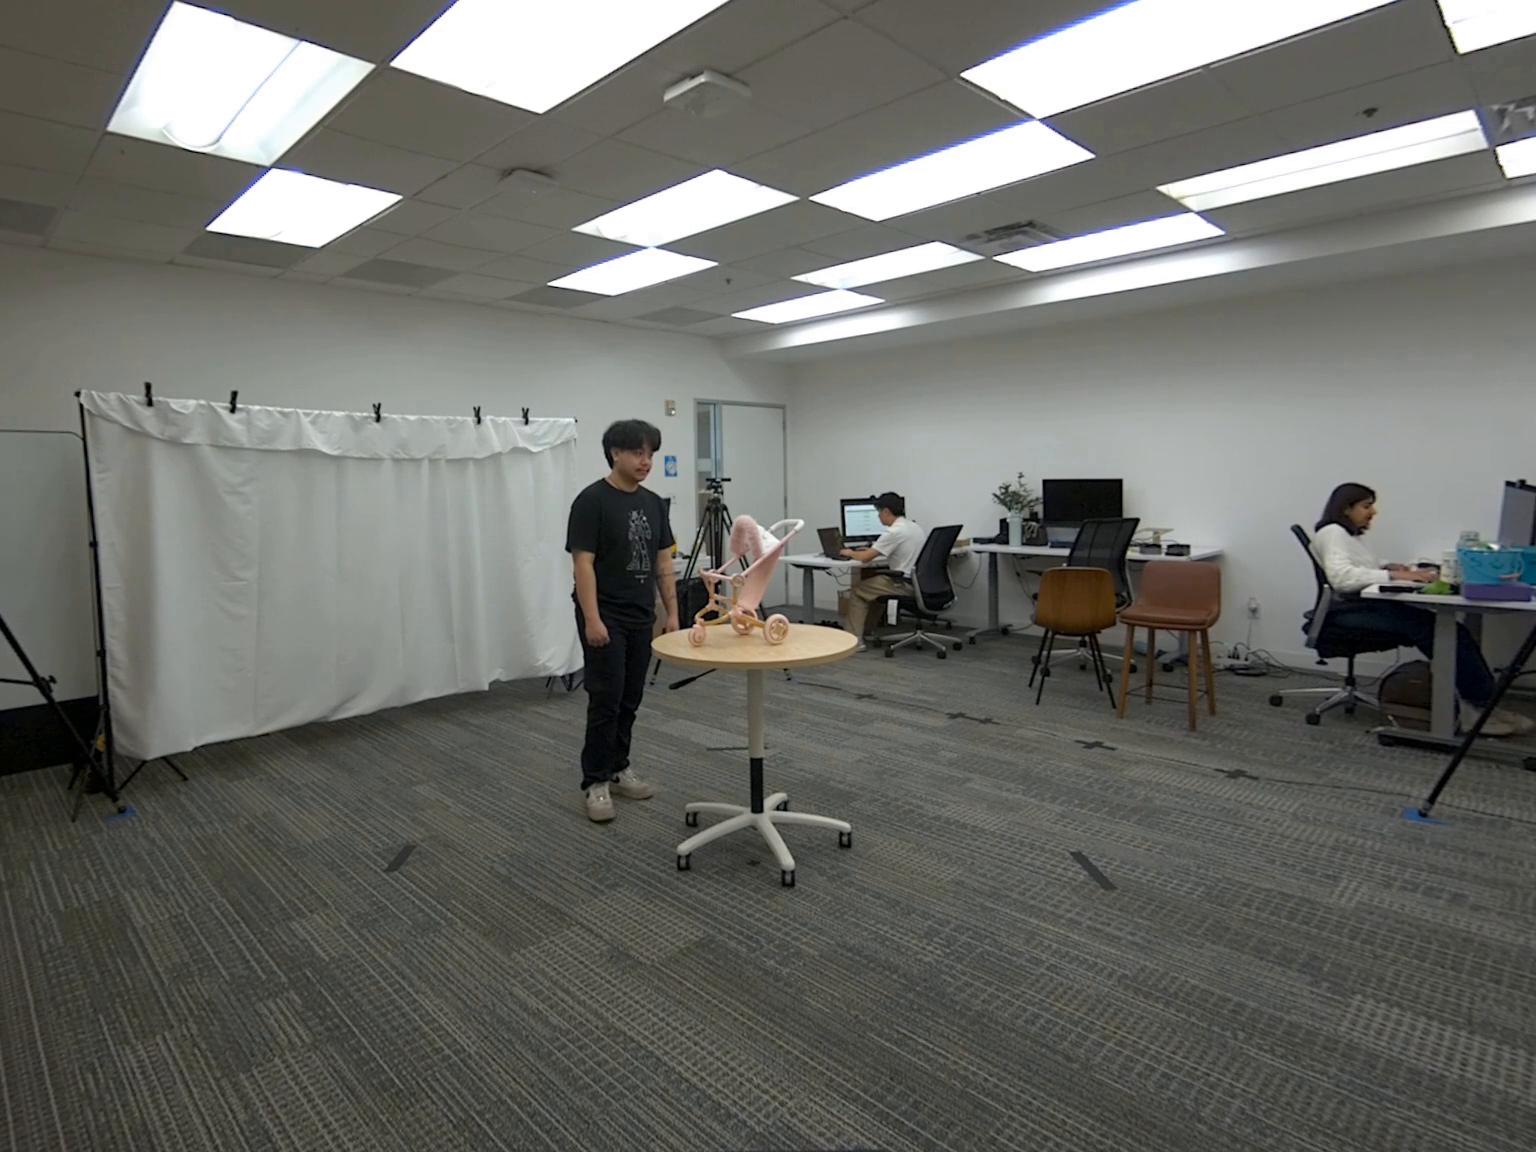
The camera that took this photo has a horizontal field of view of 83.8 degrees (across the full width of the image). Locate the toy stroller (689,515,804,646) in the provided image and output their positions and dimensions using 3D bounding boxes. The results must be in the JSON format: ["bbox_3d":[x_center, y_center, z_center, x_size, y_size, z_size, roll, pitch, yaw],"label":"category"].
[{"bbox_3d":[-0.093,0.017,3.159,0.333,0.536,0.288,12,-2,-23],"label":"toy stroller"}]
